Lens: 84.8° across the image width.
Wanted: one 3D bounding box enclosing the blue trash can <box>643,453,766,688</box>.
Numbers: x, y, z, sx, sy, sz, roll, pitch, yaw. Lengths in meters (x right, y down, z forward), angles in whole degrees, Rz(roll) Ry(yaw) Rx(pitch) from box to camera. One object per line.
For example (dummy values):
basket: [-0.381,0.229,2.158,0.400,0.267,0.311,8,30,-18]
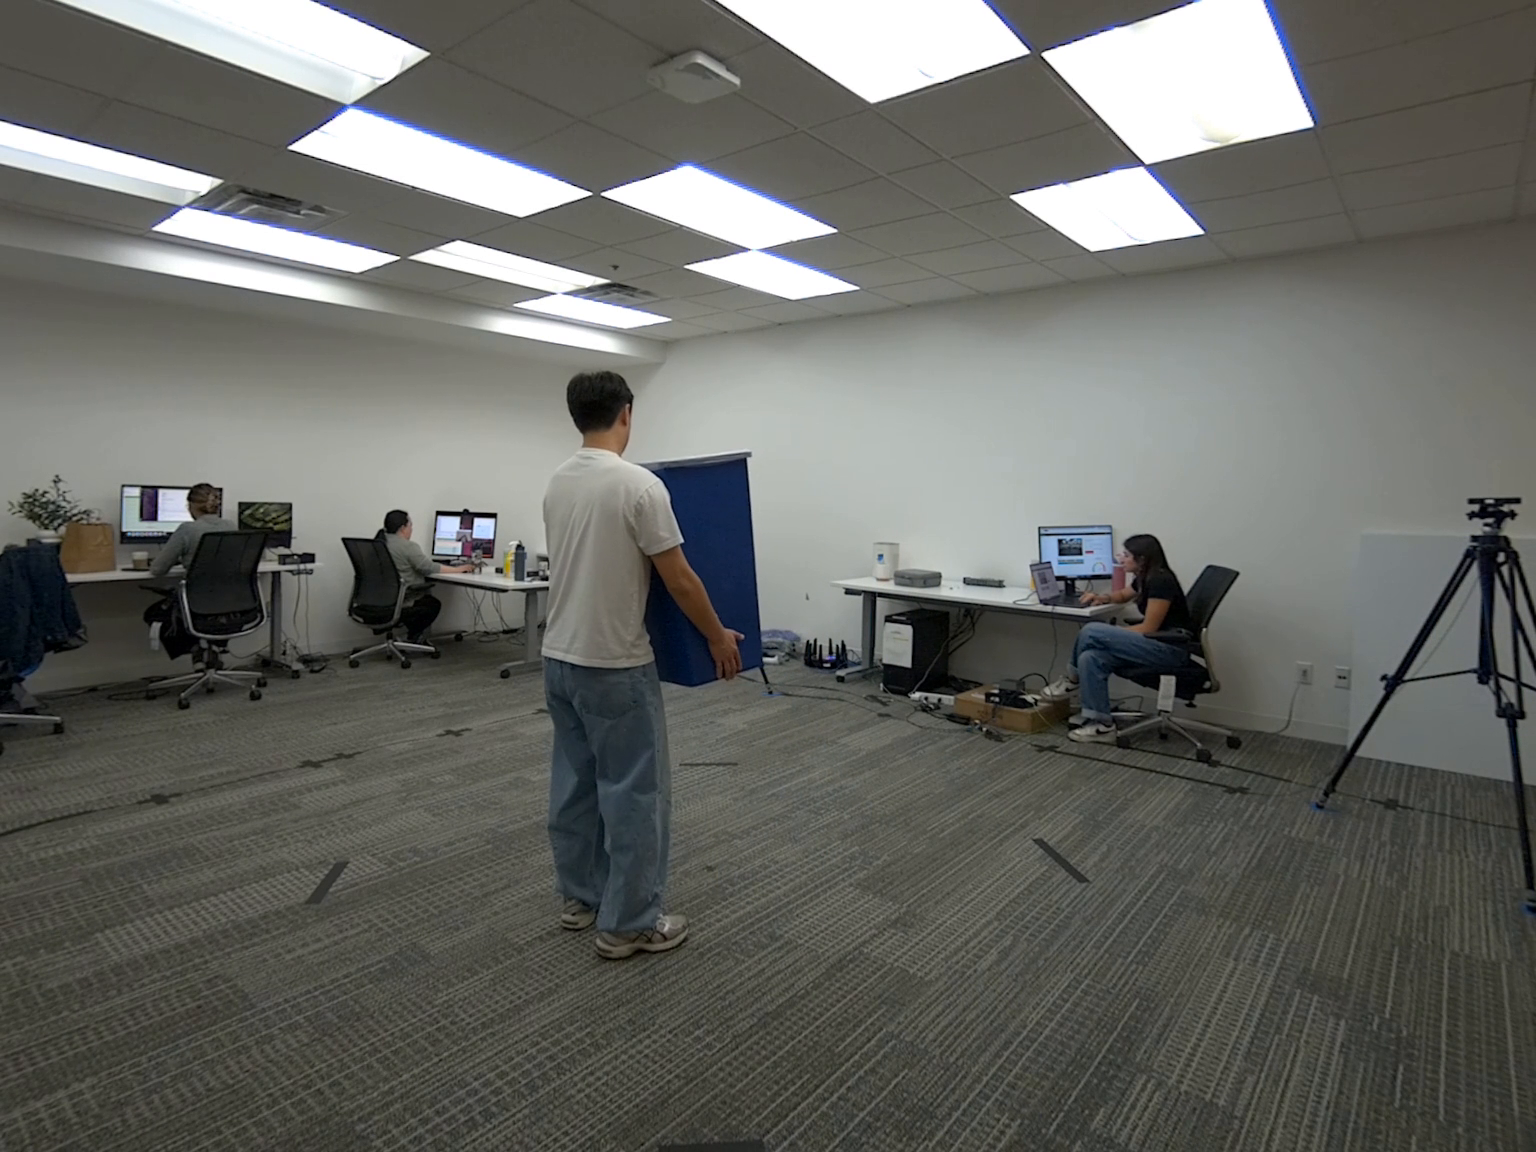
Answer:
blue trash can: [-0.258,-0.040,2.820,0.369,0.710,0.386,-11,7,-39]
